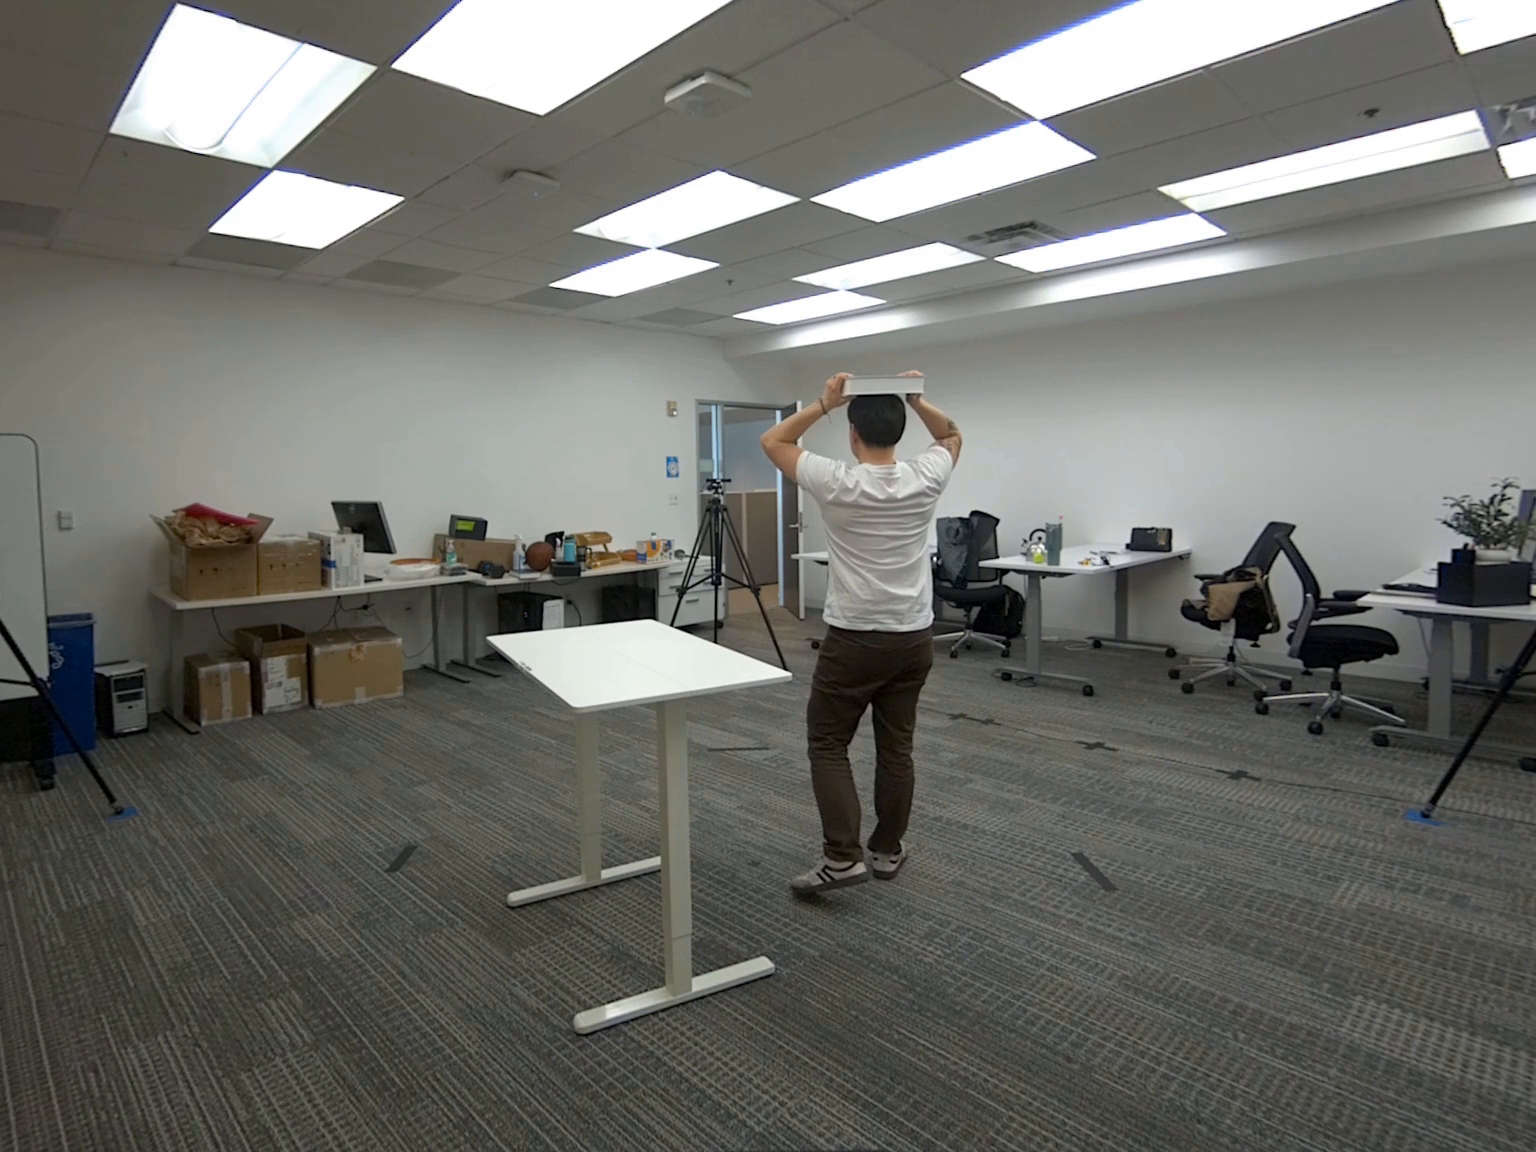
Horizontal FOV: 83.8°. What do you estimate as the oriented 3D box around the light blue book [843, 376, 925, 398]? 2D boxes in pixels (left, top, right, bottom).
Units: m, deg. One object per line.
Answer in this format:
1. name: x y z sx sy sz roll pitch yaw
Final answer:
1. light blue book: 0.374 -0.642 2.870 0.259 0.058 0.195 -4 14 -10
